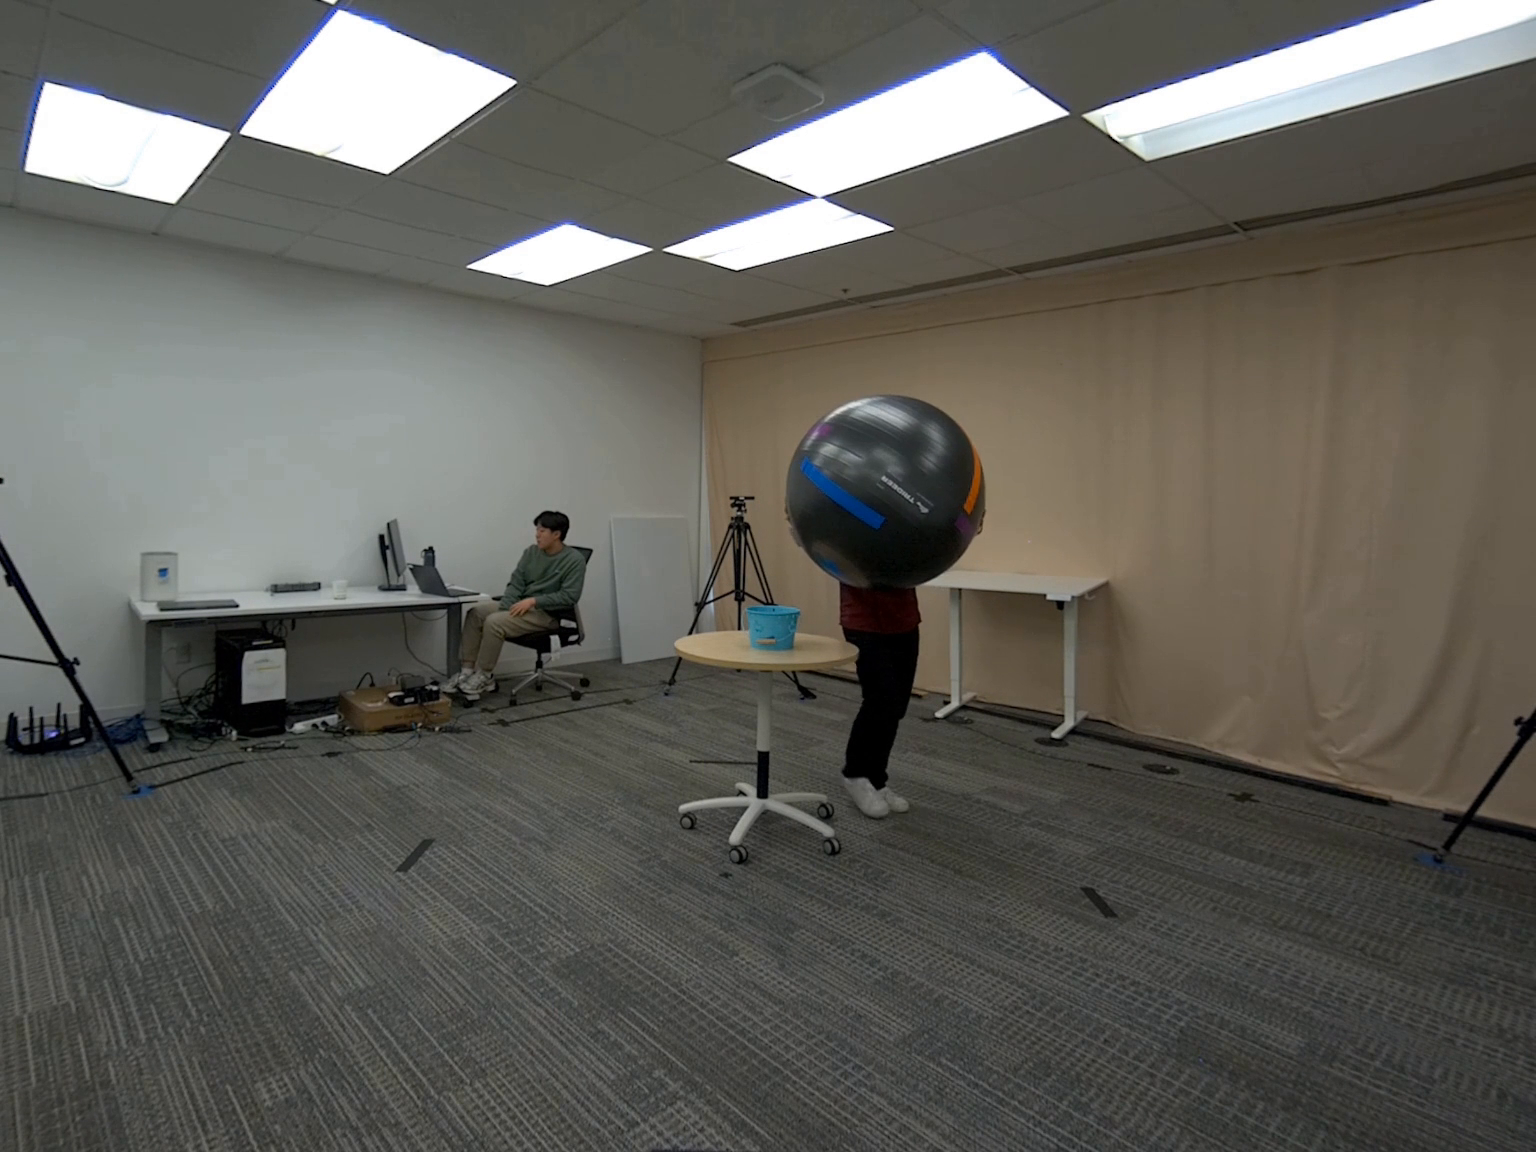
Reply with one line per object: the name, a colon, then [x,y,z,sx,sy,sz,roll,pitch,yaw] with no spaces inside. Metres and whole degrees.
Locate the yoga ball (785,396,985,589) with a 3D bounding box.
yoga ball: [0.447,-0.312,3.263,0.757,0.756,0.761,1,4,-1]
